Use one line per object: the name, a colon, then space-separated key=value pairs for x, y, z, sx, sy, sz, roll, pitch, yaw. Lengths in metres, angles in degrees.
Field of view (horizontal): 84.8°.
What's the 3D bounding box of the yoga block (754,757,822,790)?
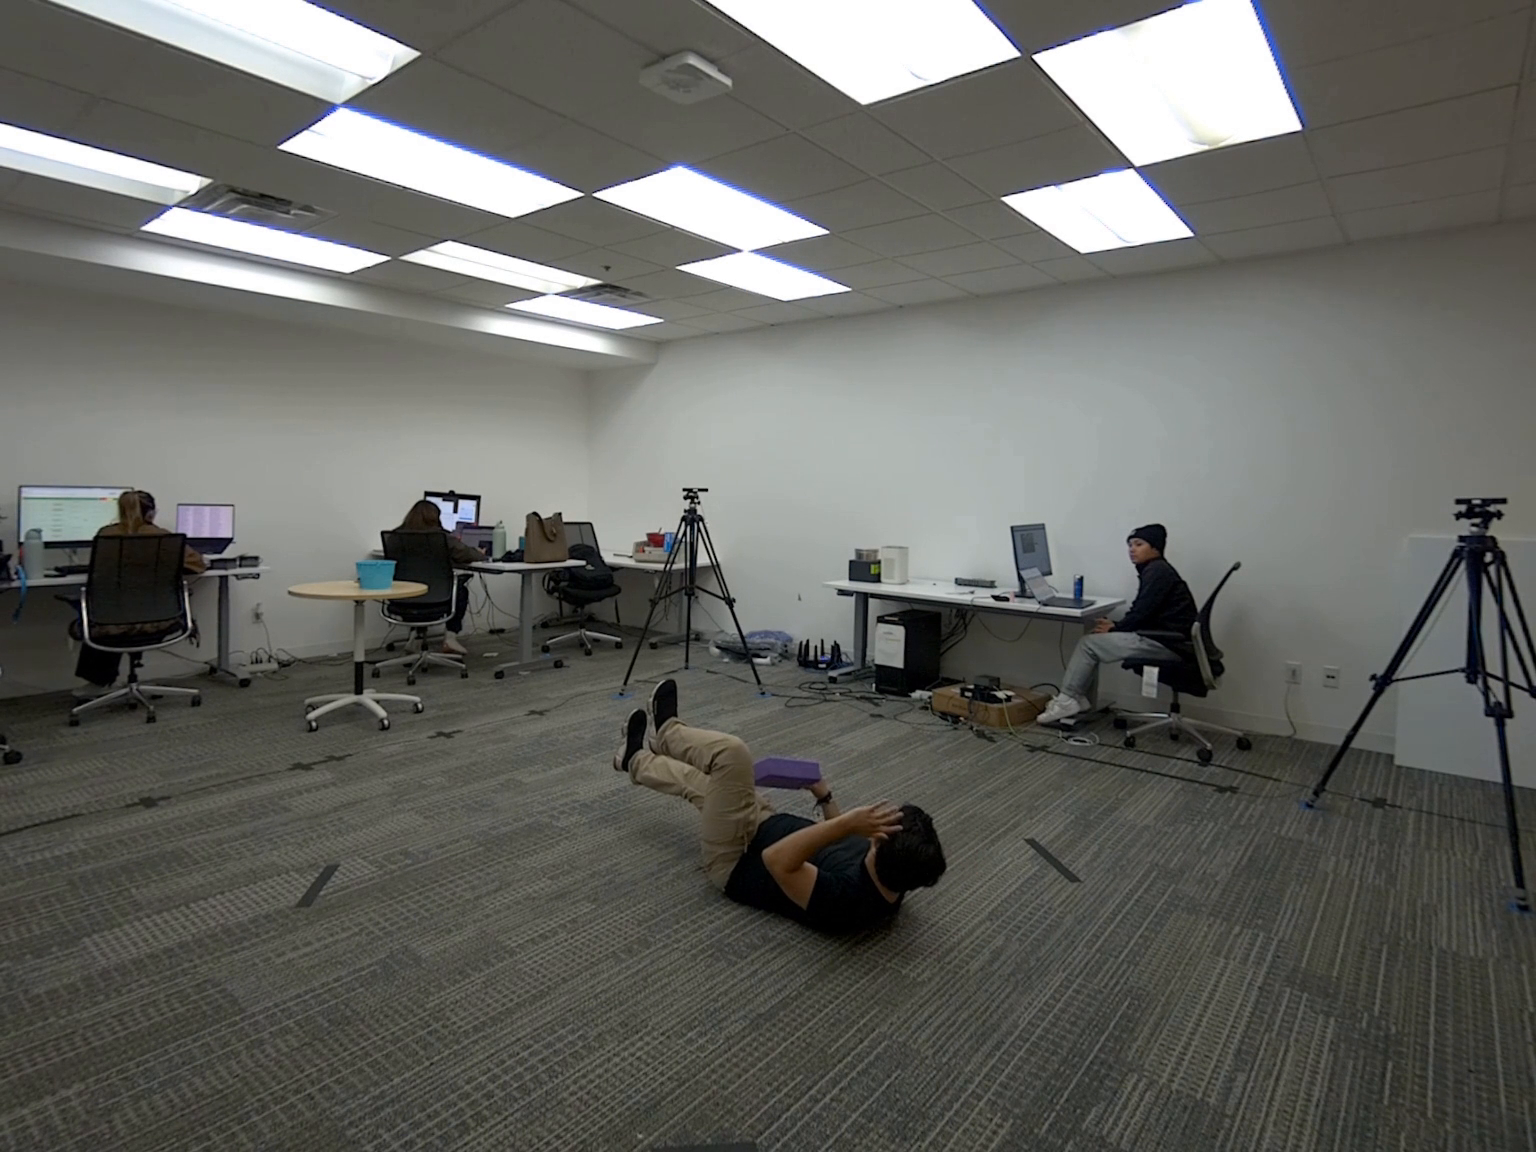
yoga block: x=0.052 y=0.730 z=3.124 sx=0.222 sy=0.078 sz=0.150 roll=12 pitch=-31 yaw=-29
